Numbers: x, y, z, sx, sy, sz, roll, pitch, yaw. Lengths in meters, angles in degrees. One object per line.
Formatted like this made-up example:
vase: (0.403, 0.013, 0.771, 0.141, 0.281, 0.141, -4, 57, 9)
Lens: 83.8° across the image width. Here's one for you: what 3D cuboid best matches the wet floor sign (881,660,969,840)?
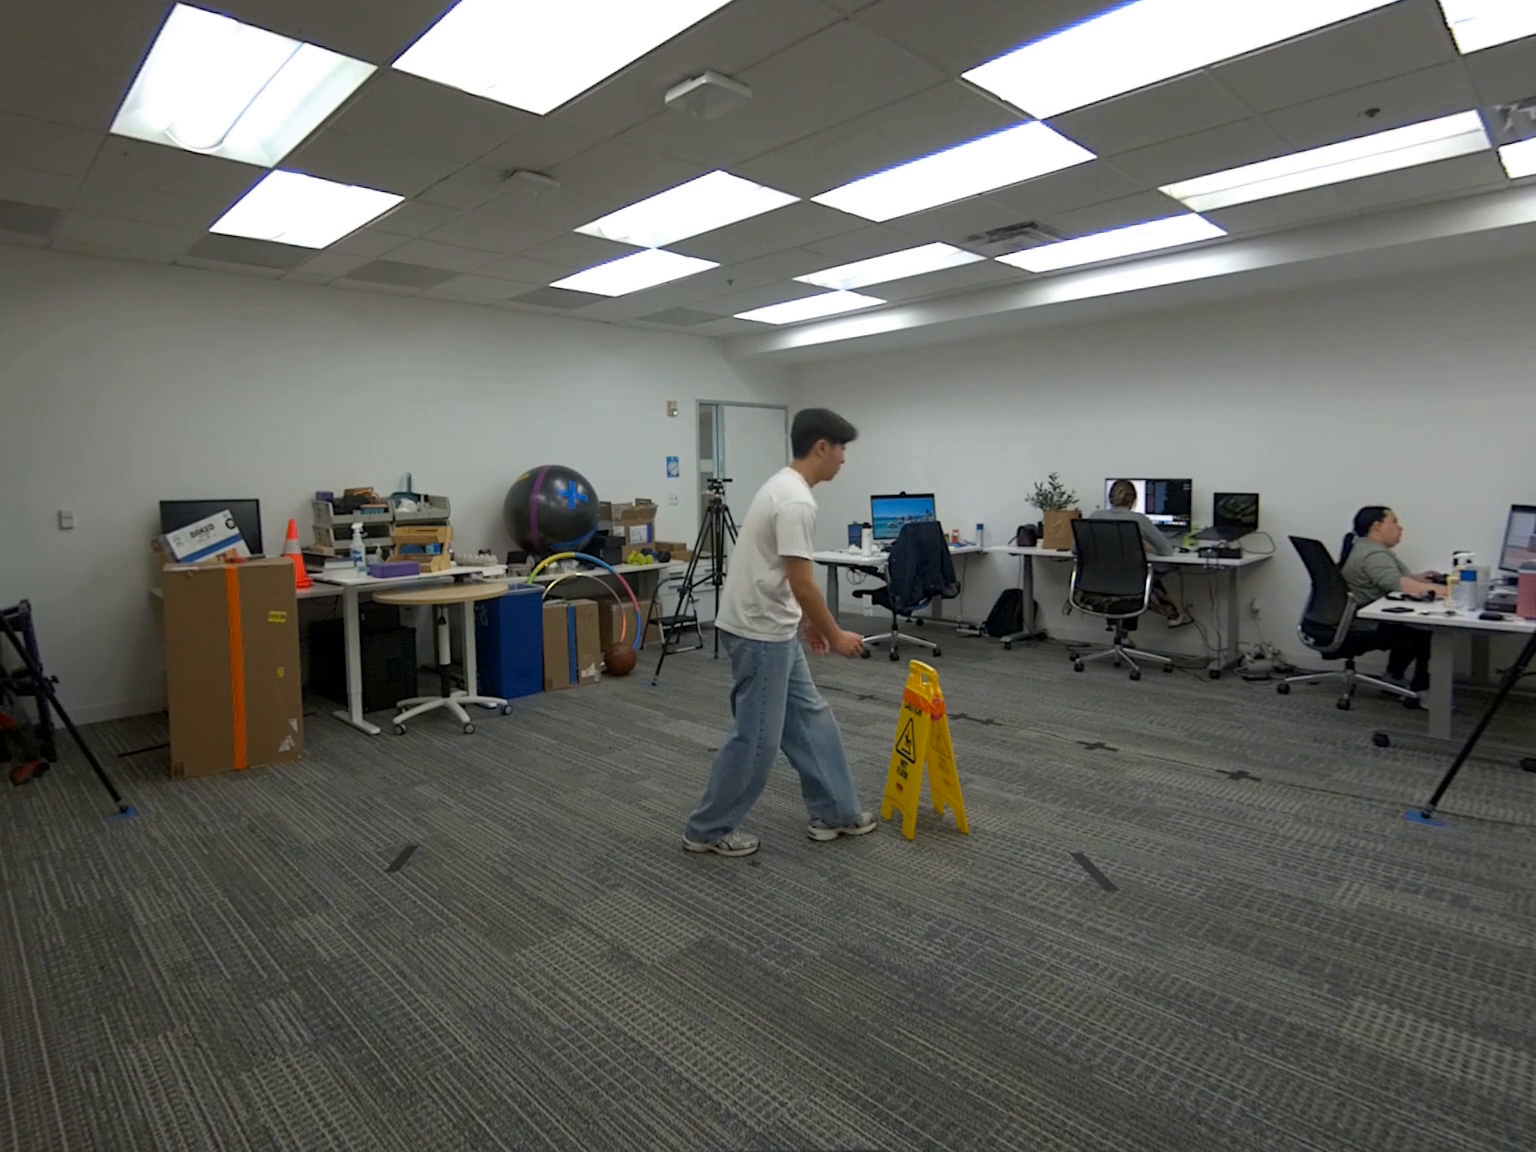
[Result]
wet floor sign: (0.626, 0.681, 3.402, 0.286, 0.643, 0.287, -2, 5, -13)
